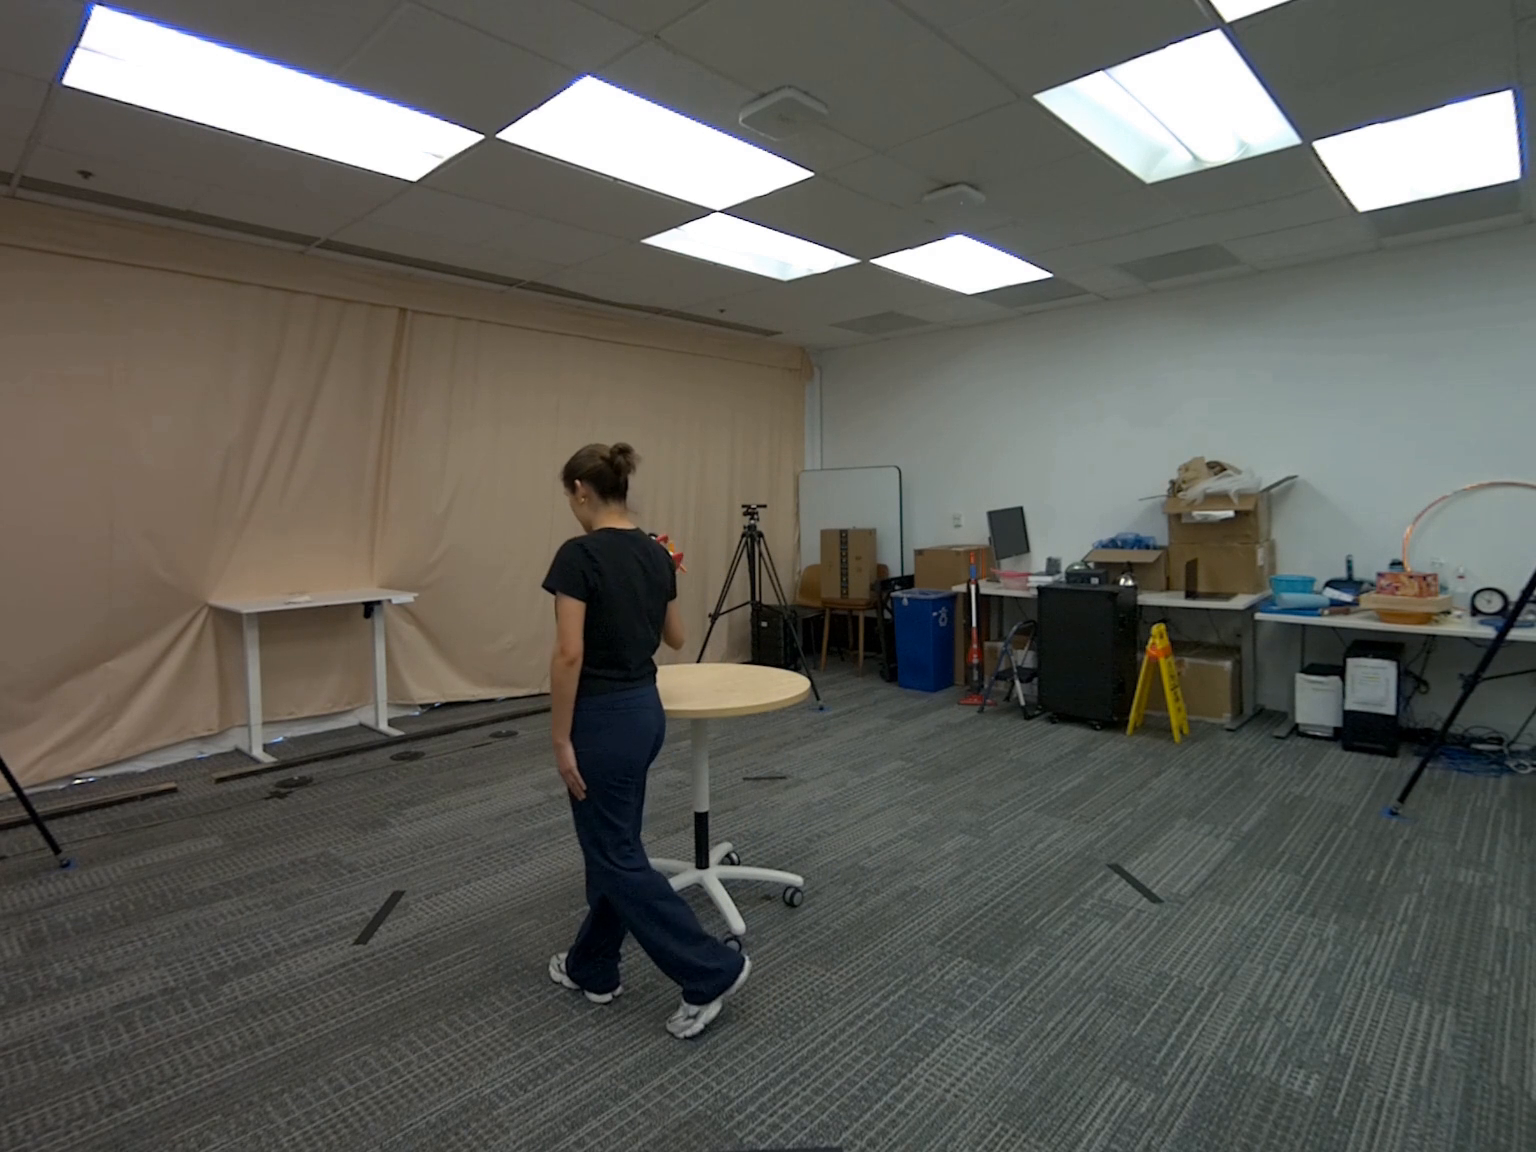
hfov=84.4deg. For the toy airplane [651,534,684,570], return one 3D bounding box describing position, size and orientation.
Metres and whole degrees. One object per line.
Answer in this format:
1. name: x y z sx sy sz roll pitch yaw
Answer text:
1. toy airplane: -0.393 -0.012 2.793 0.157 0.258 0.250 37 -17 4
